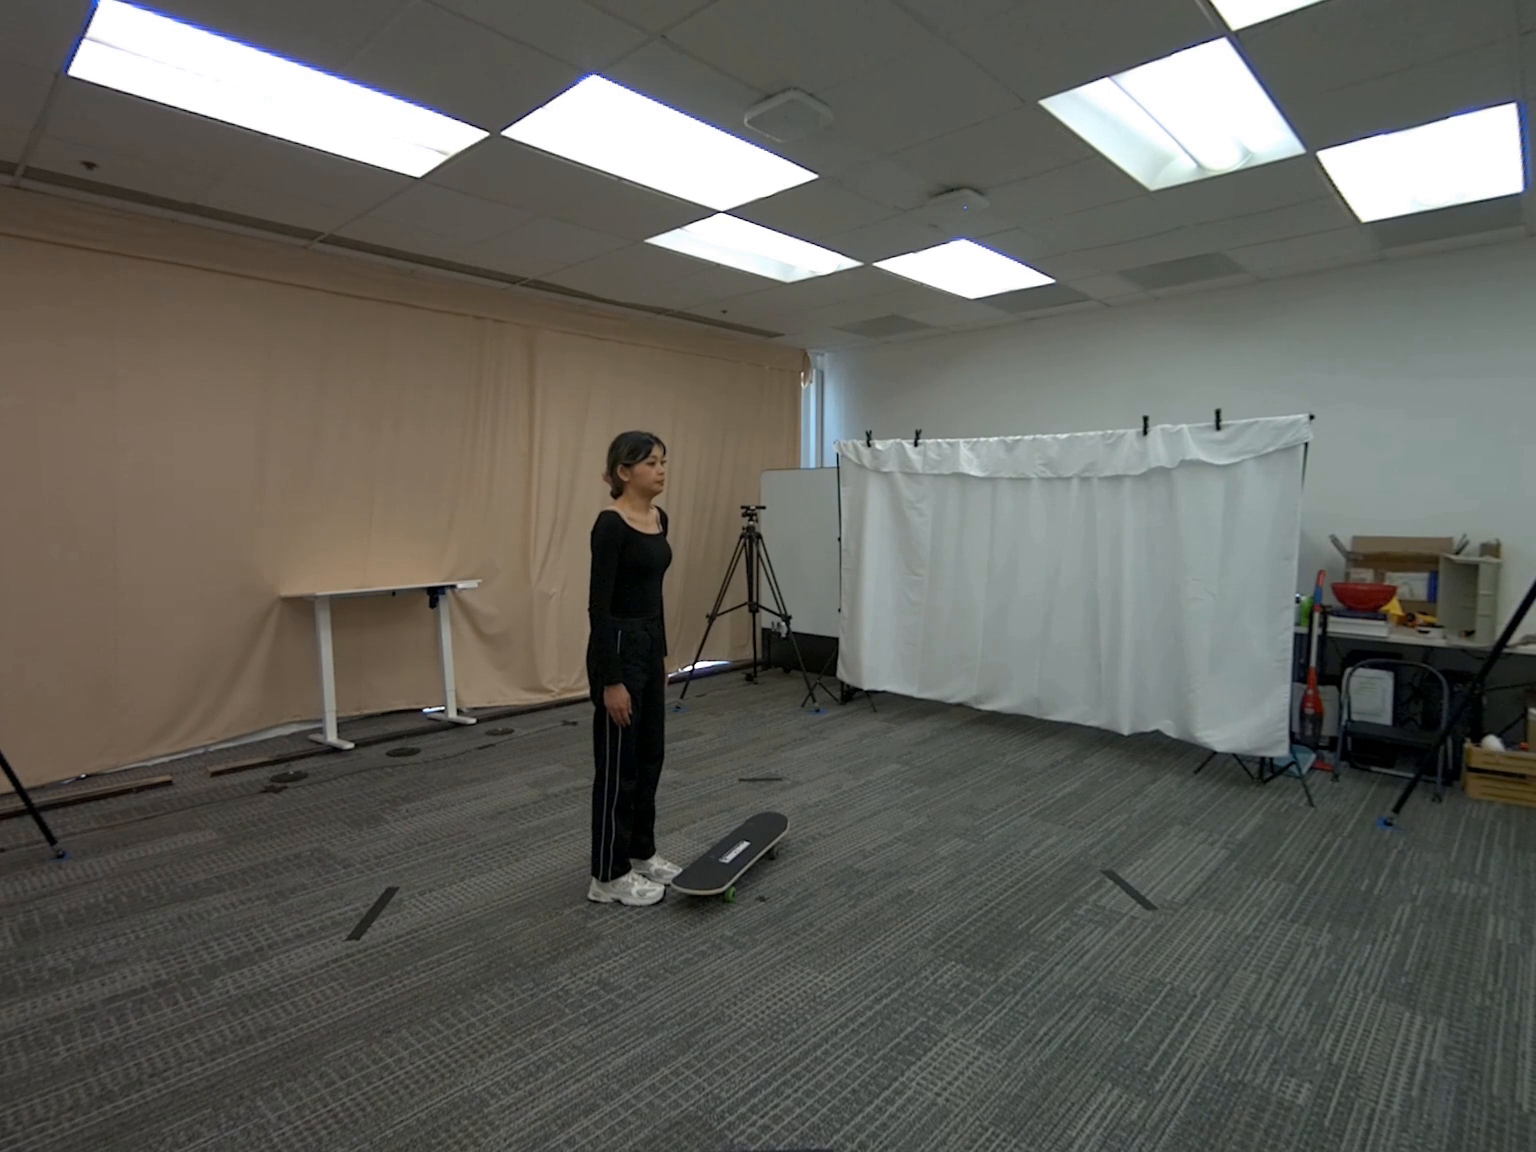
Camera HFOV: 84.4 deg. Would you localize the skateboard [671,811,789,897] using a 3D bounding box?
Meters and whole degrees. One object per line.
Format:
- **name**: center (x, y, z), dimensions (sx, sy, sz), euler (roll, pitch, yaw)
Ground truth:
- **skateboard**: center (-0.123, 1.070, 3.173), dimensions (0.198, 0.110, 0.767), euler (1, 5, 24)
